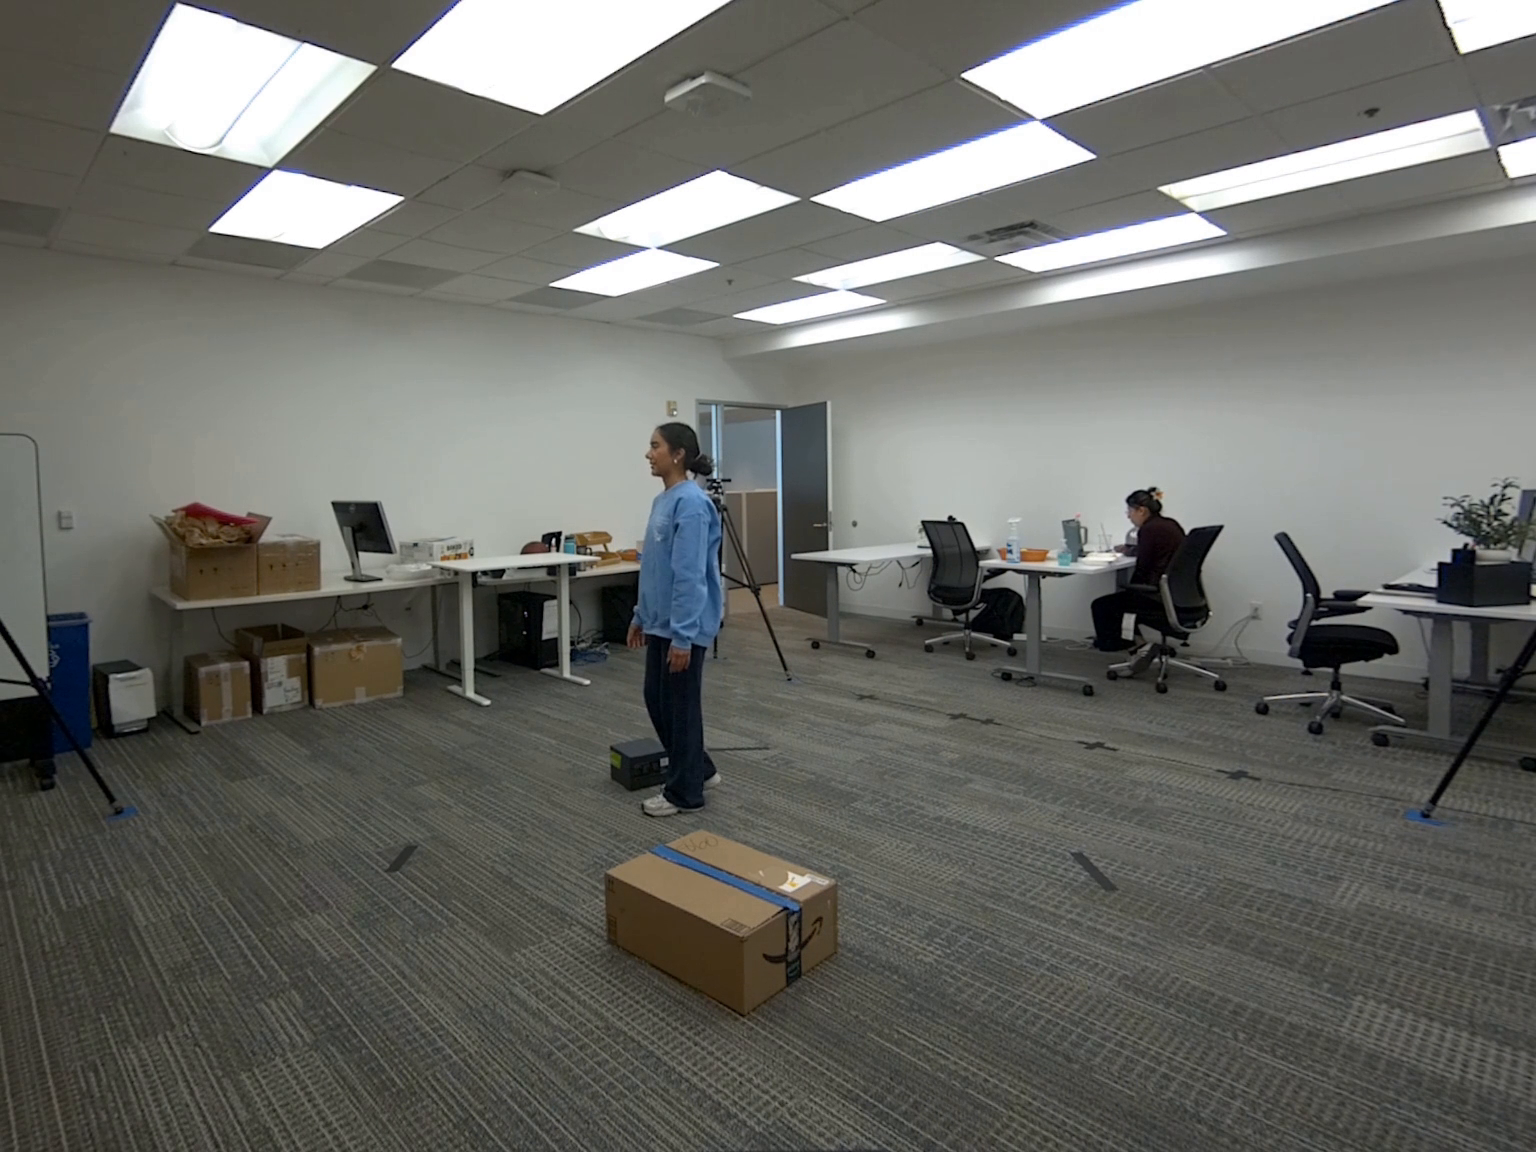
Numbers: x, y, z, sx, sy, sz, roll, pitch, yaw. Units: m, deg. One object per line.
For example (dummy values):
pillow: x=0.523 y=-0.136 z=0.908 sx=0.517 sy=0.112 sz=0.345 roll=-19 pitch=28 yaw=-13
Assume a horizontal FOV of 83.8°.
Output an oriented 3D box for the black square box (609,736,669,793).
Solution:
black square box: x=-0.590 y=0.873 z=4.002 sx=0.212 sy=0.155 sz=0.234 roll=-6 pitch=7 yaw=-34
